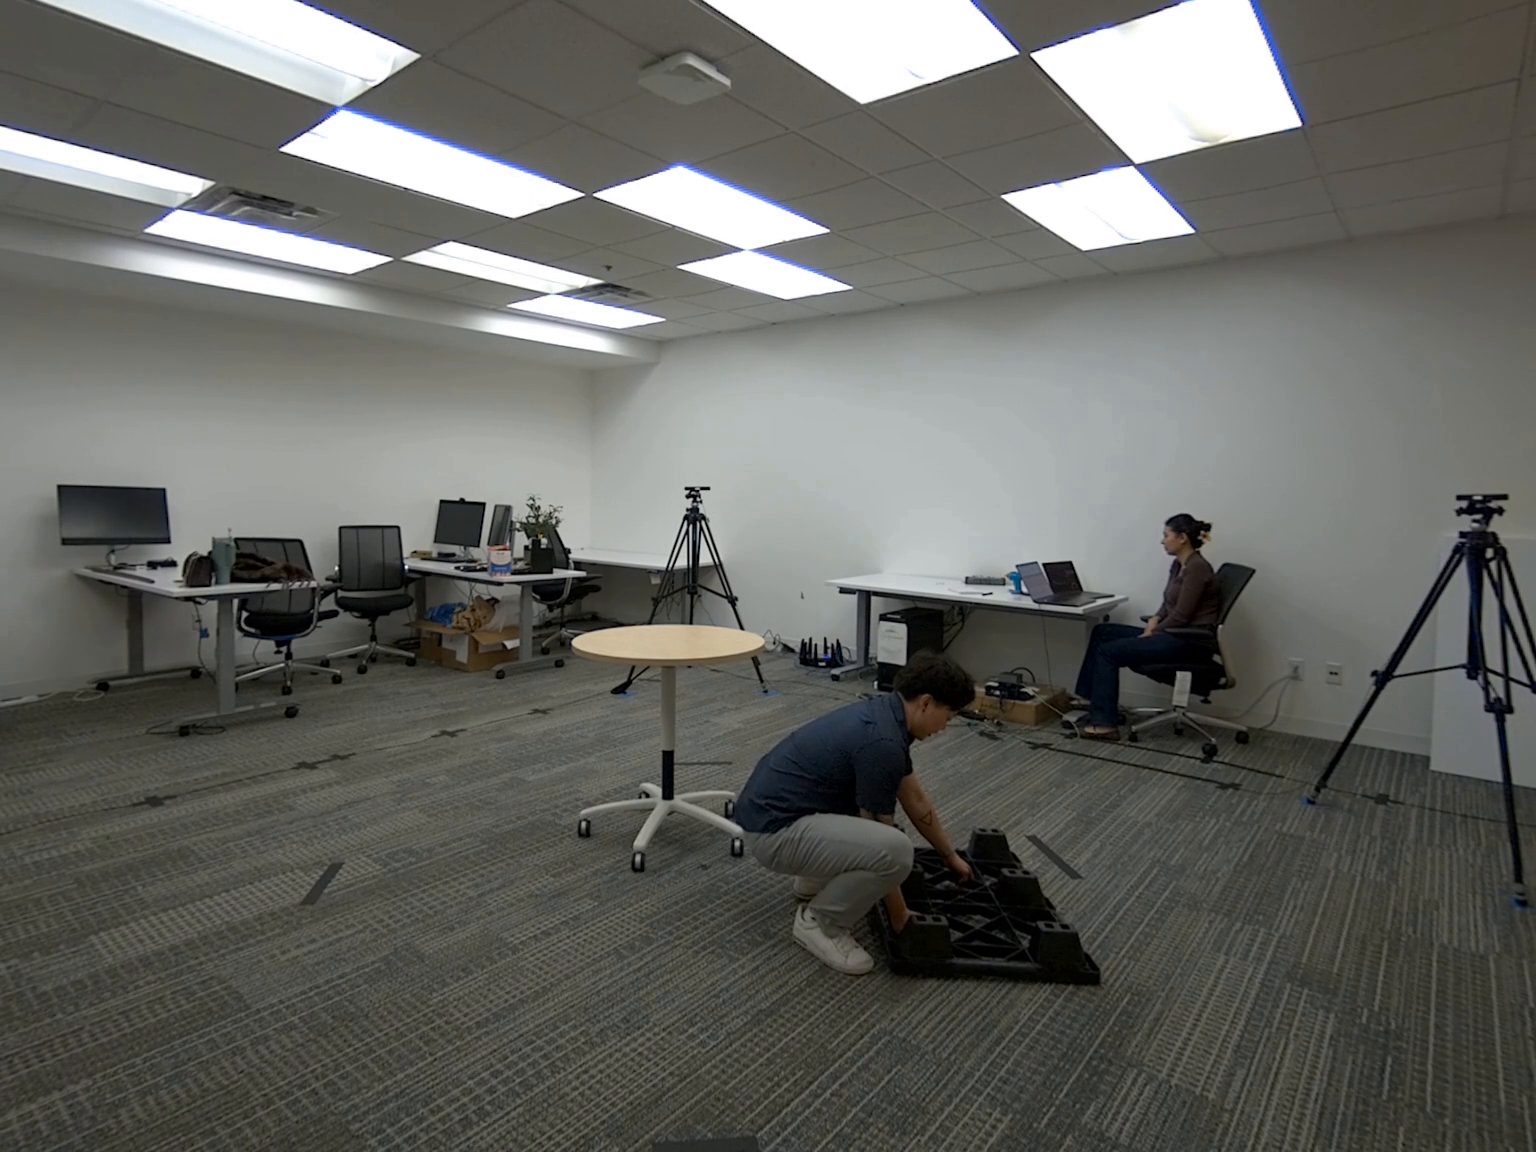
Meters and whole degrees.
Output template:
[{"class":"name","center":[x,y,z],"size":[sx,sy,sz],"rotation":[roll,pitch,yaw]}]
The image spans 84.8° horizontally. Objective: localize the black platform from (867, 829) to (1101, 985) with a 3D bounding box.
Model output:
[{"class":"black platform","center":[0.641,1.035,2.807],"size":[0.606,0.143,0.809],"rotation":[1,6,-1]}]
